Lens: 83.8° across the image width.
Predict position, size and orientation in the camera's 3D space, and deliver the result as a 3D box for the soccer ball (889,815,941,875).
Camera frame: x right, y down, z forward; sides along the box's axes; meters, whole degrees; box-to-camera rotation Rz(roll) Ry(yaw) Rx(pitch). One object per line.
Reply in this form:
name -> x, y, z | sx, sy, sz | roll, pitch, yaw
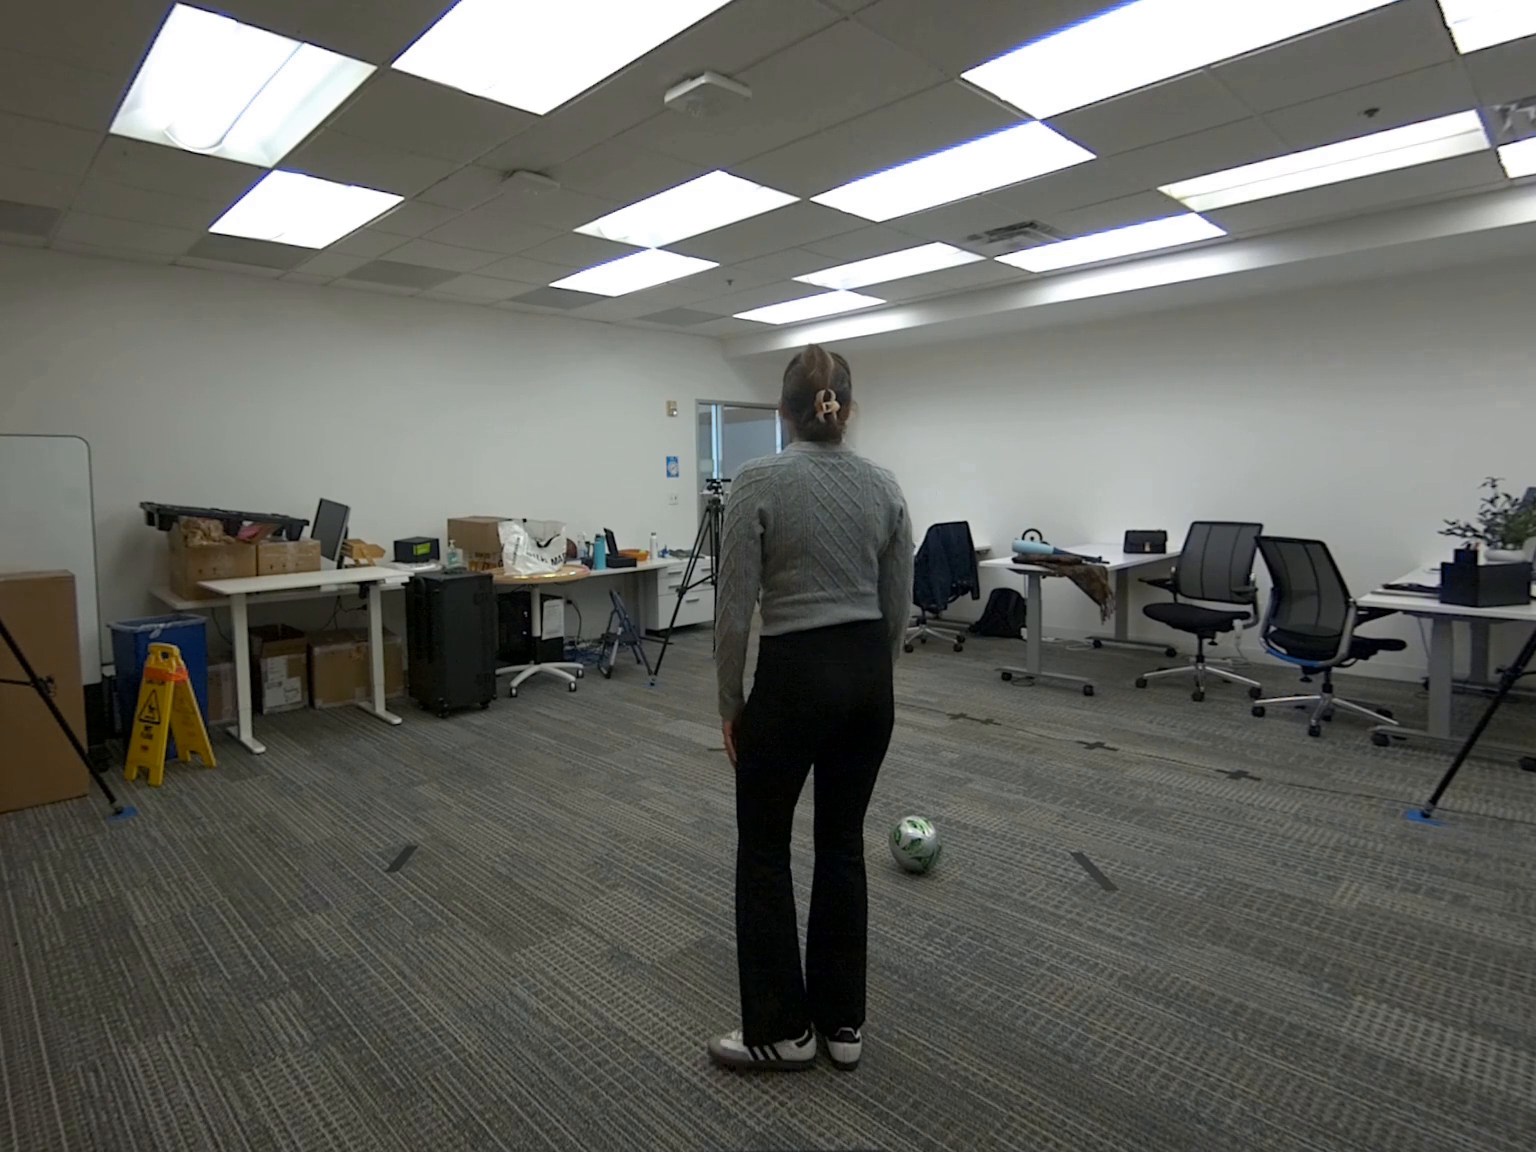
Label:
soccer ball -> 0.526, 0.946, 3.030 | 0.187, 0.187, 0.188 | -1, 5, -2
